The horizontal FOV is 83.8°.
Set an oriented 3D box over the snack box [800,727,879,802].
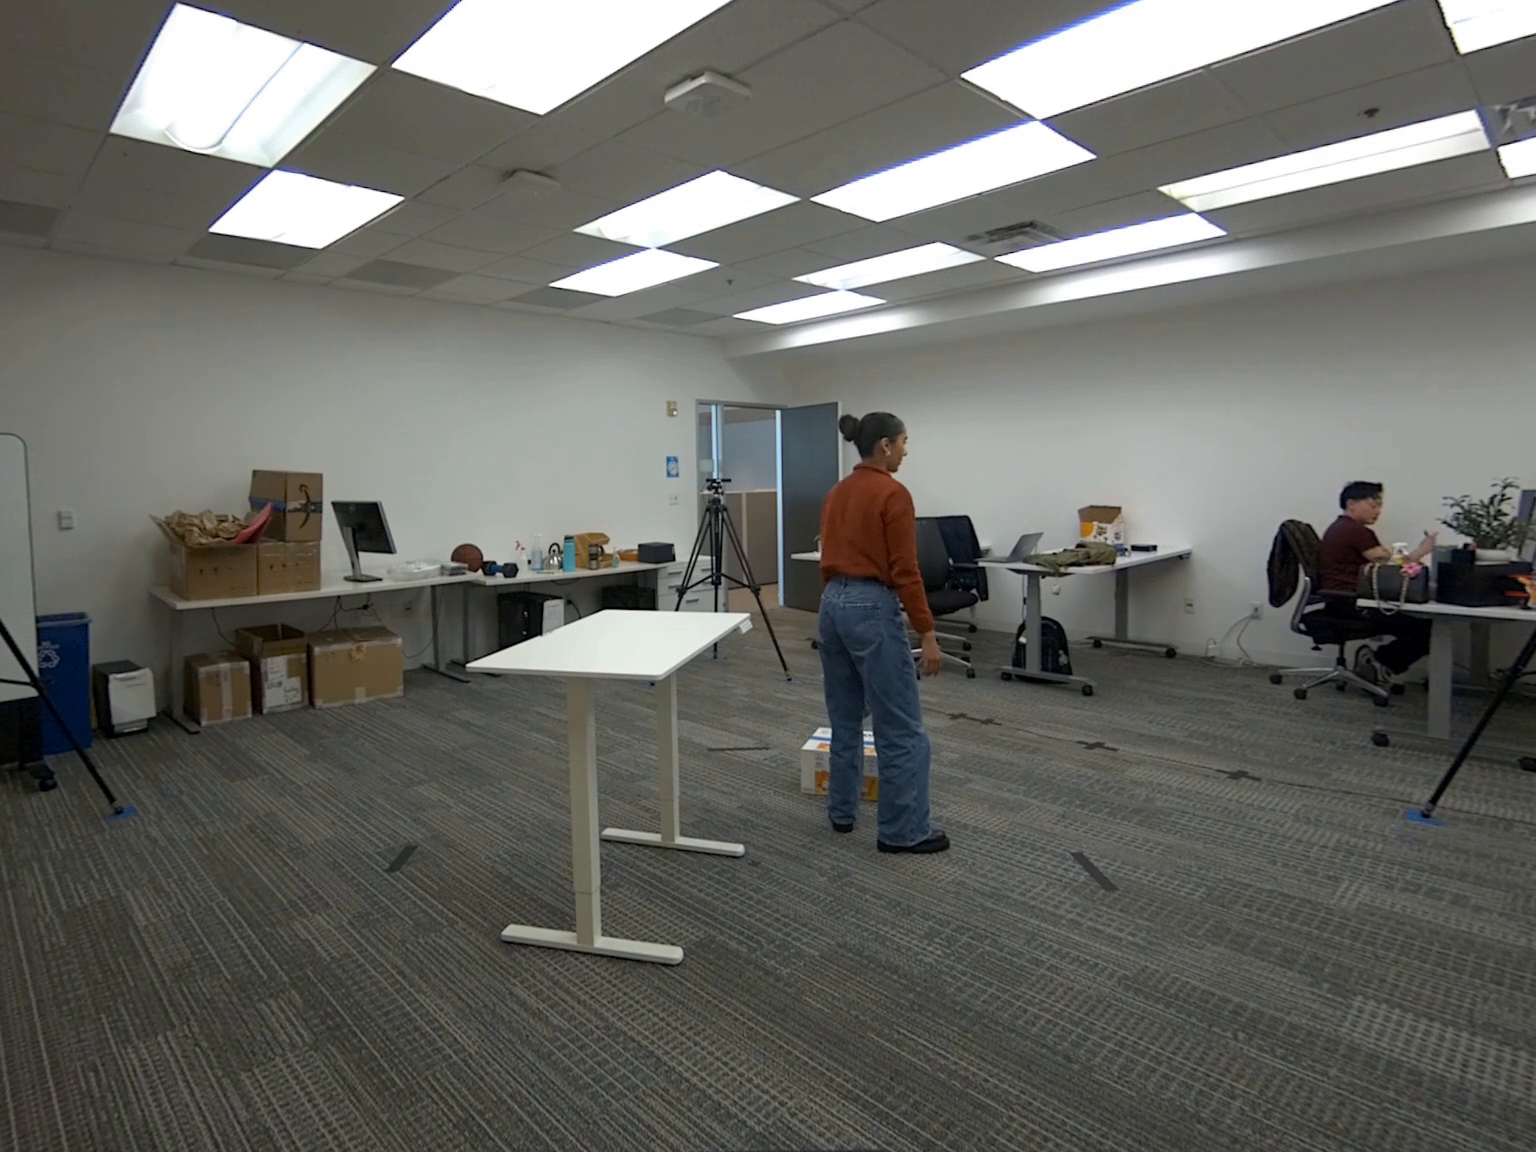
[{"bbox_3d":[0.391,0.849,3.875,0.412,0.205,0.336,1,6,18],"label":"snack box"}]
